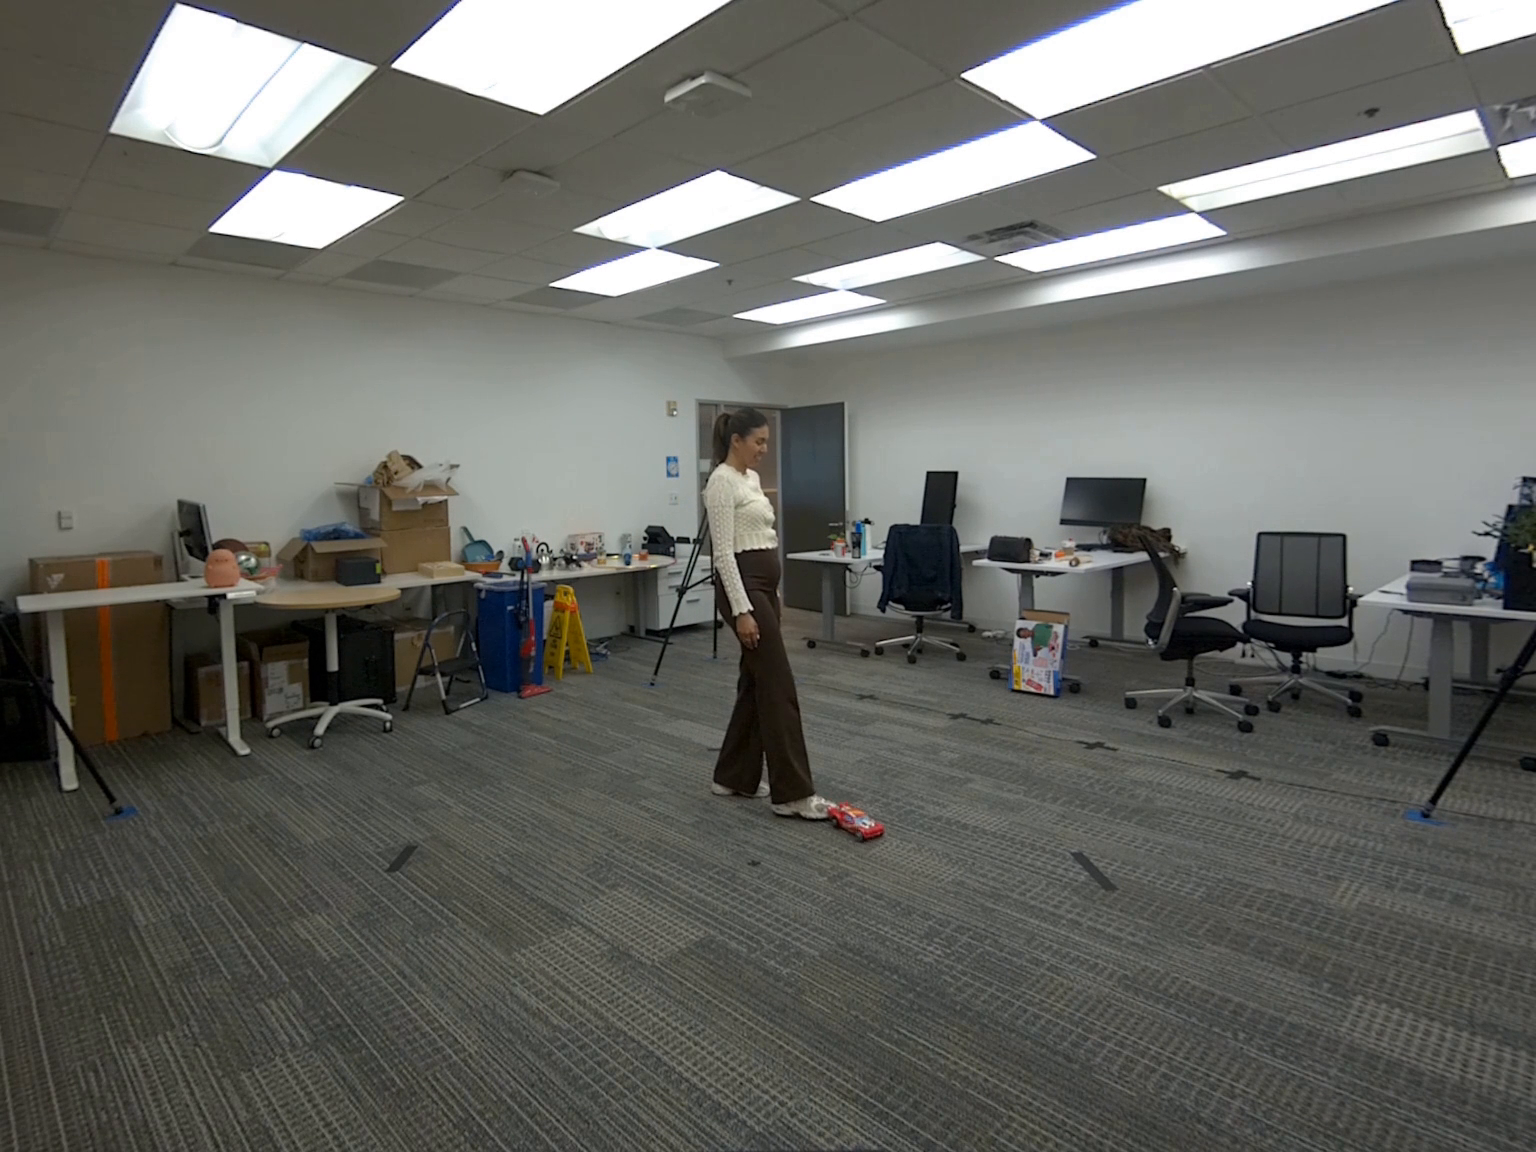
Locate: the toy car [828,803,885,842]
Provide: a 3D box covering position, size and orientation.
[{"bbox_3d":[0.342,0.973,3.387,0.127,0.082,0.264,-4,17,-32],"label":"toy car"}]
